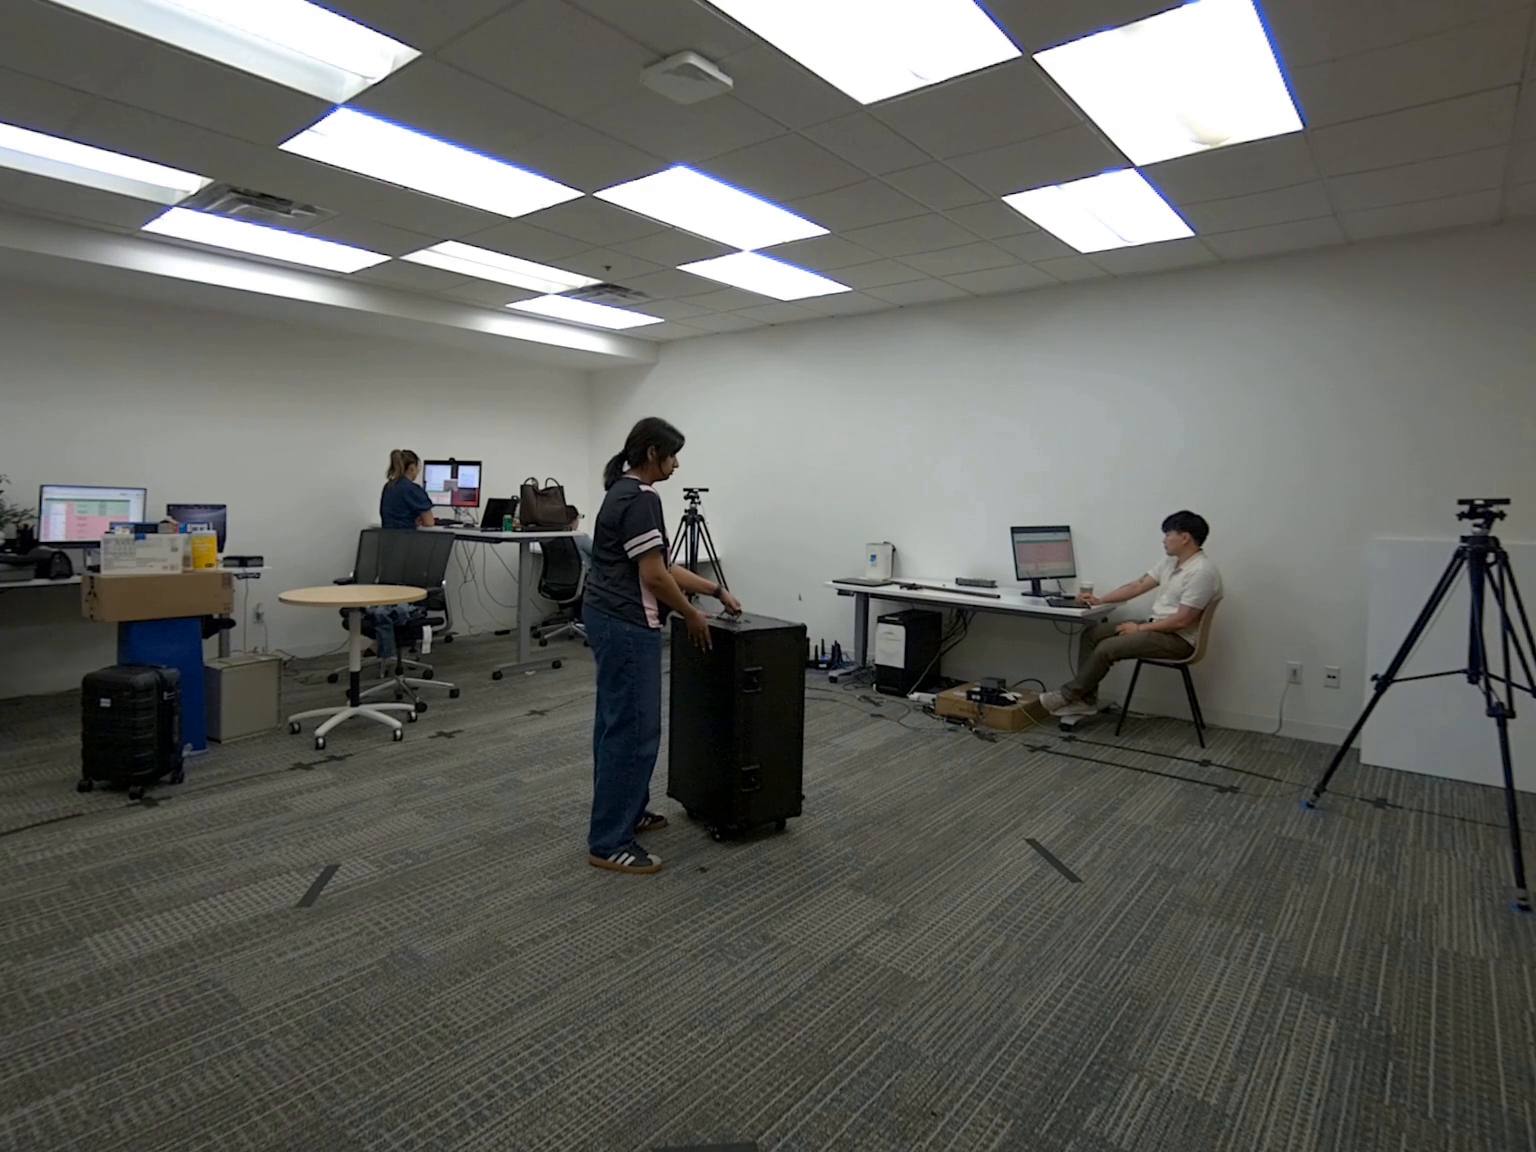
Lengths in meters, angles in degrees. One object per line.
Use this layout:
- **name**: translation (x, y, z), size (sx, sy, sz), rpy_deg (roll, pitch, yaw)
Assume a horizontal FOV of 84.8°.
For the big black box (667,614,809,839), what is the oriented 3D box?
- **big black box**: translation (-0.150, 0.607, 3.552), size (0.374, 0.866, 0.541), rpy_deg (-1, 4, -37)
